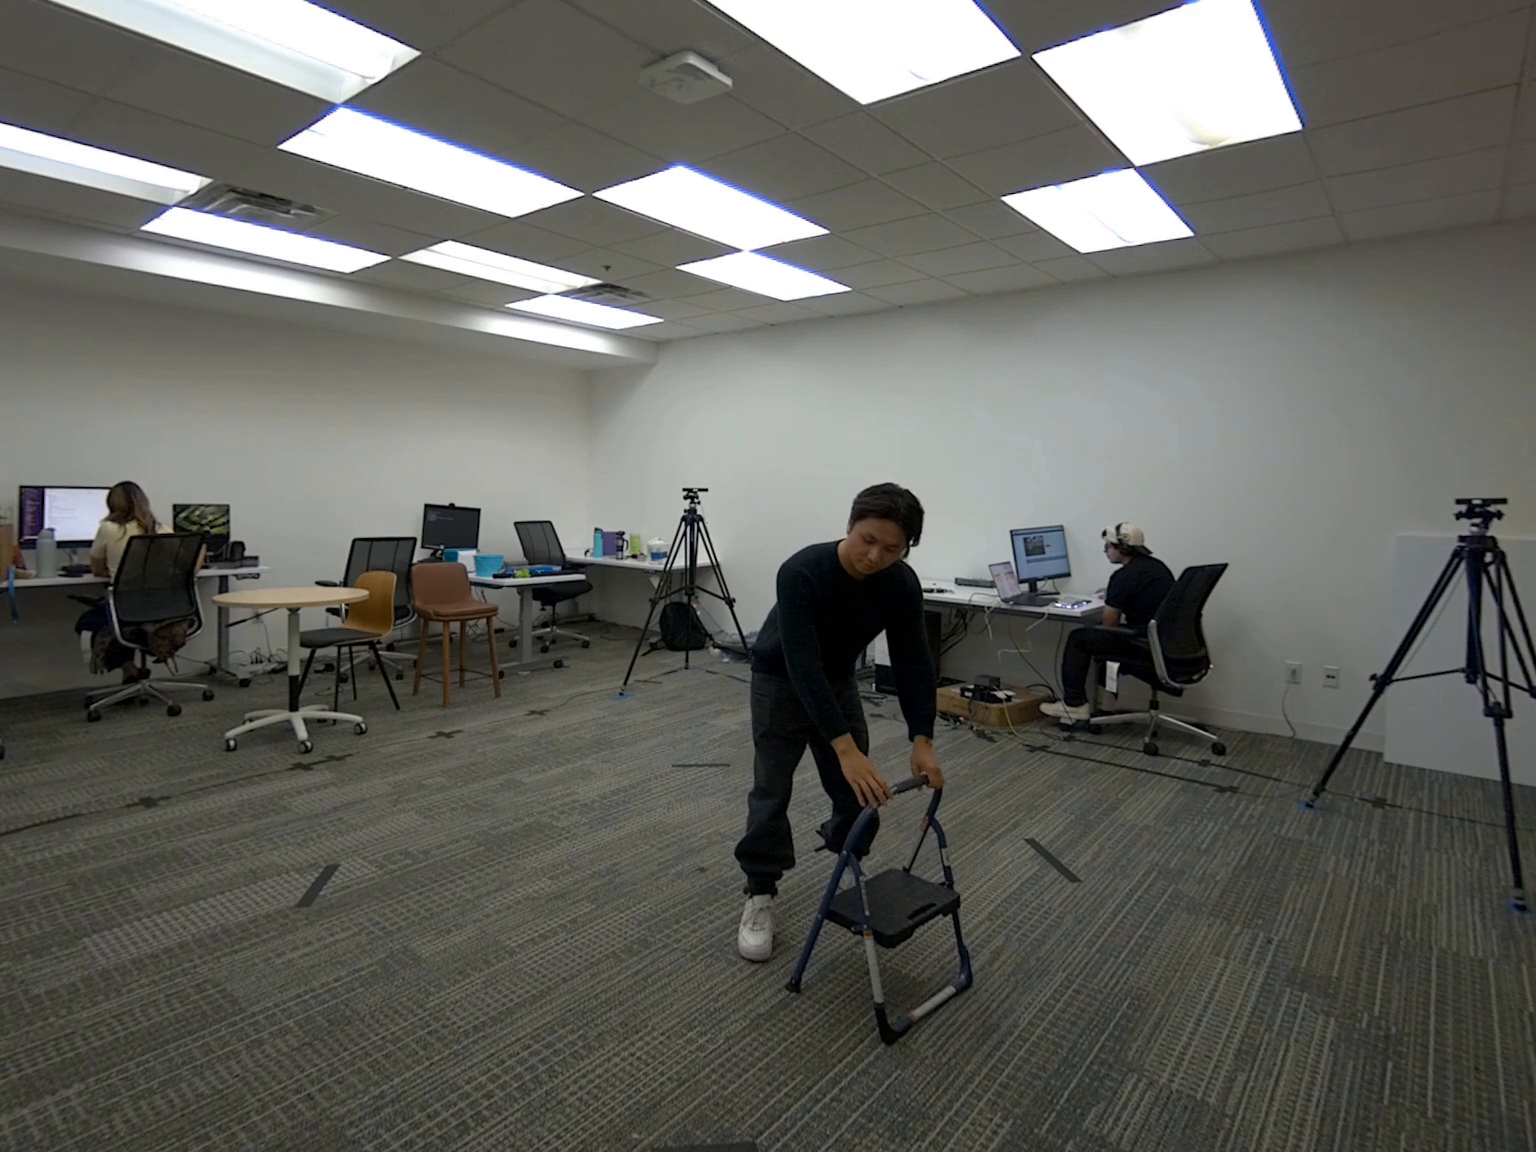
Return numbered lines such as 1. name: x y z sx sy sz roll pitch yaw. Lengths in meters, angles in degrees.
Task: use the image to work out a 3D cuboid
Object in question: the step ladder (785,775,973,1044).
1. step ladder: 0.319 0.850 2.385 0.361 0.604 0.418 4 5 44
